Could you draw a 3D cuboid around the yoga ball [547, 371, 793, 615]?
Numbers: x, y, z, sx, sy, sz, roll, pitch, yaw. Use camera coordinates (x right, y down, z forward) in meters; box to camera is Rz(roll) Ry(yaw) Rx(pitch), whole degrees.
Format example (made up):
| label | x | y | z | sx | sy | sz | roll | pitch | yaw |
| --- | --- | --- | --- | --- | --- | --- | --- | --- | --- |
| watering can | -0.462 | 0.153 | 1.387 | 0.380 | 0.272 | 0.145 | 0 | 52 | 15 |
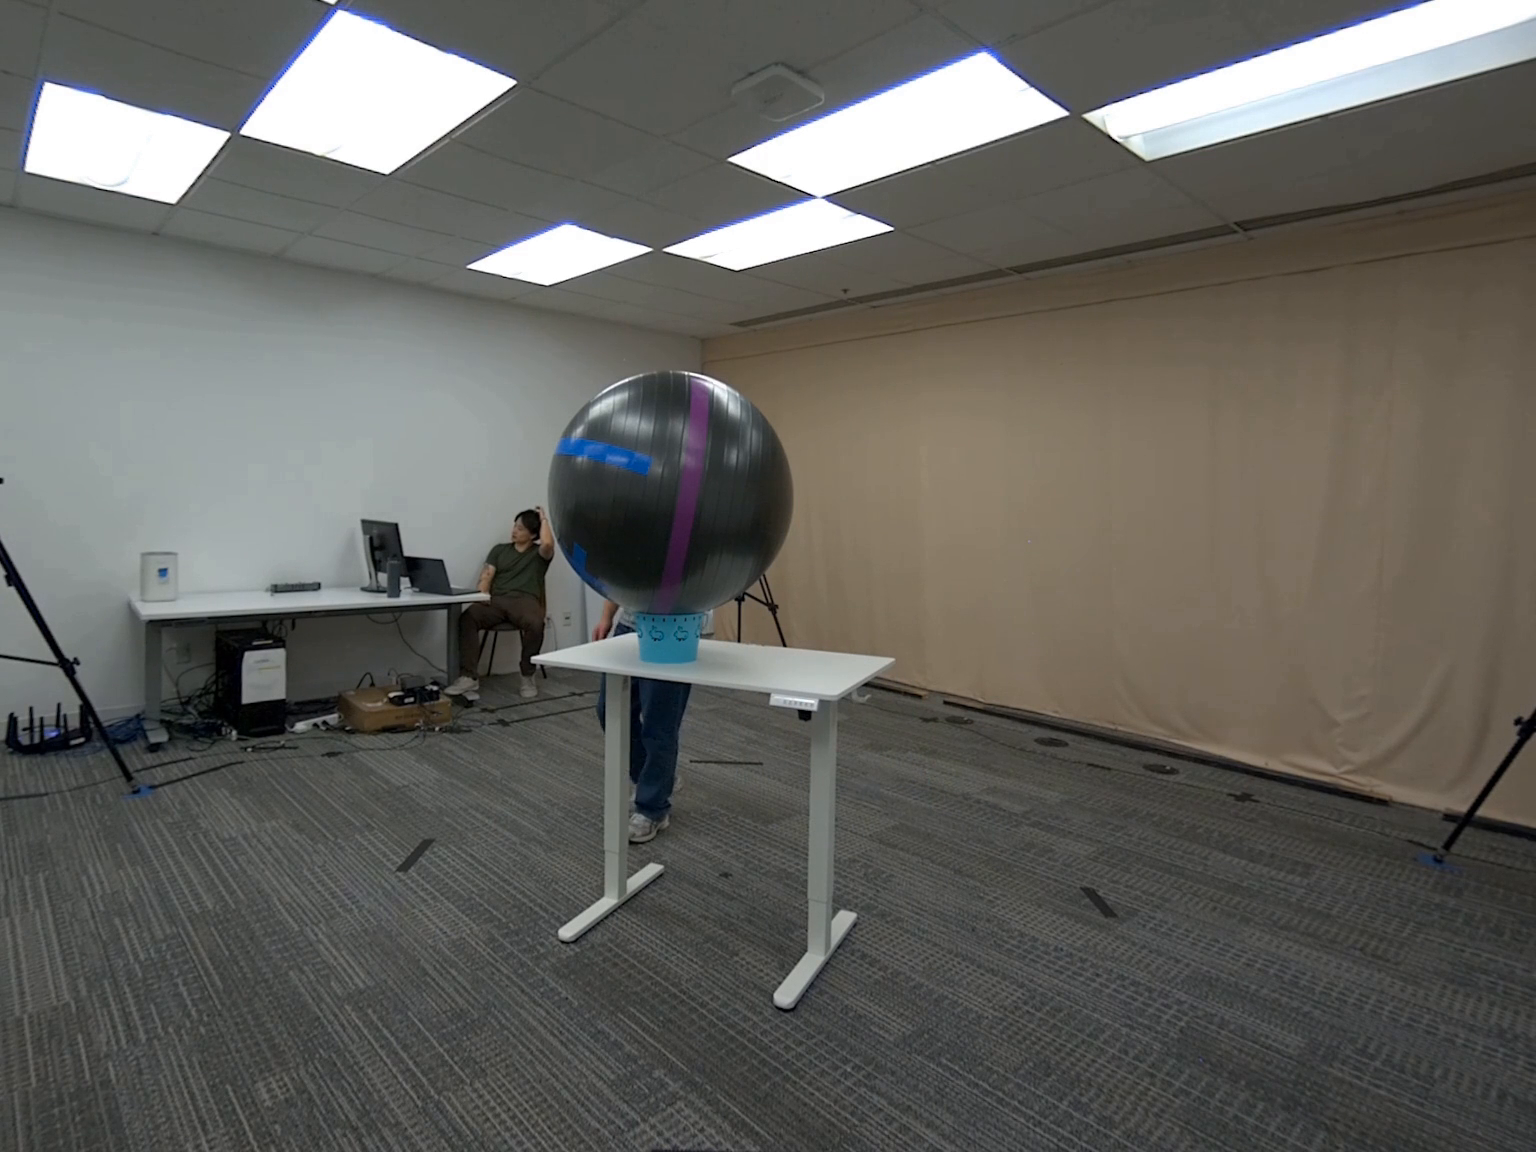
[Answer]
| label | x | y | z | sx | sy | sz | roll | pitch | yaw |
| --- | --- | --- | --- | --- | --- | --- | --- | --- | --- |
| yoga ball | -0.304 | -0.250 | 2.629 | 0.757 | 0.756 | 0.761 | 1 | 4 | -1 |
